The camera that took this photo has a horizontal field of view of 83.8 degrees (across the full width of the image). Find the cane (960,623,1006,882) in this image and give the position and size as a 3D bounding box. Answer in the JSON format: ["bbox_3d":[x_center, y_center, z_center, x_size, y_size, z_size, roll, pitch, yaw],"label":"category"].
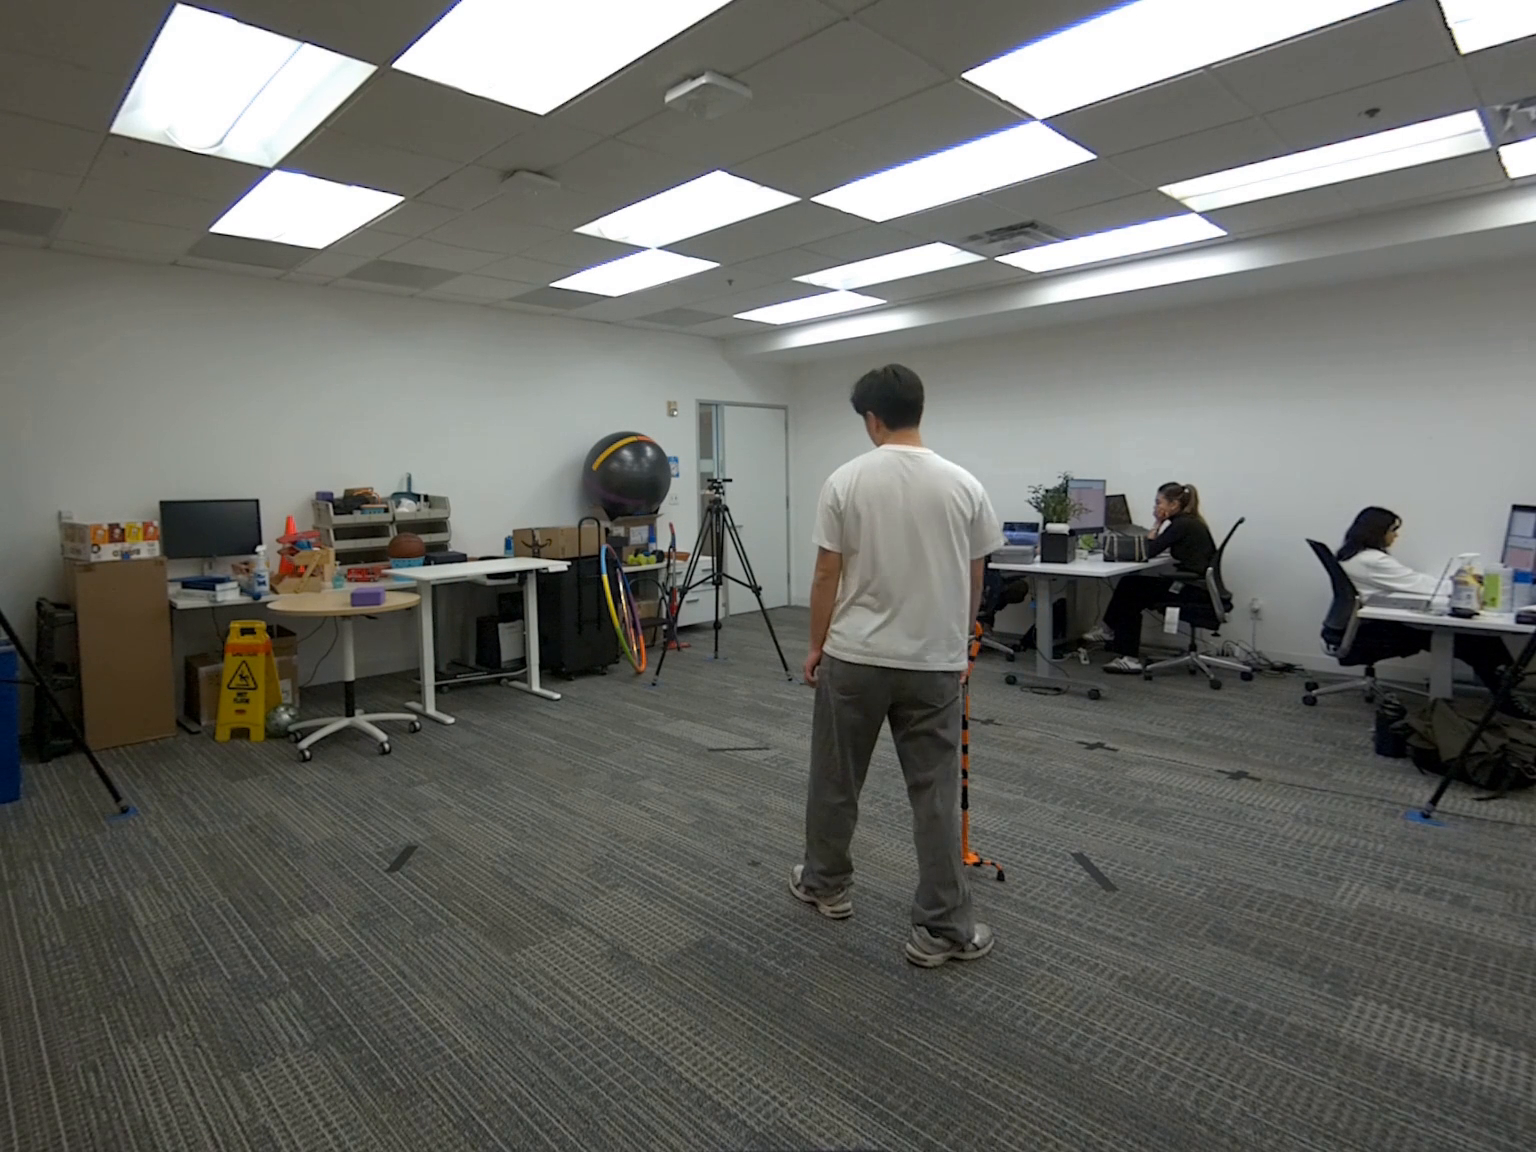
[{"bbox_3d":[0.693,0.599,2.948,0.202,0.905,0.155,-3,4,-24],"label":"cane"}]
